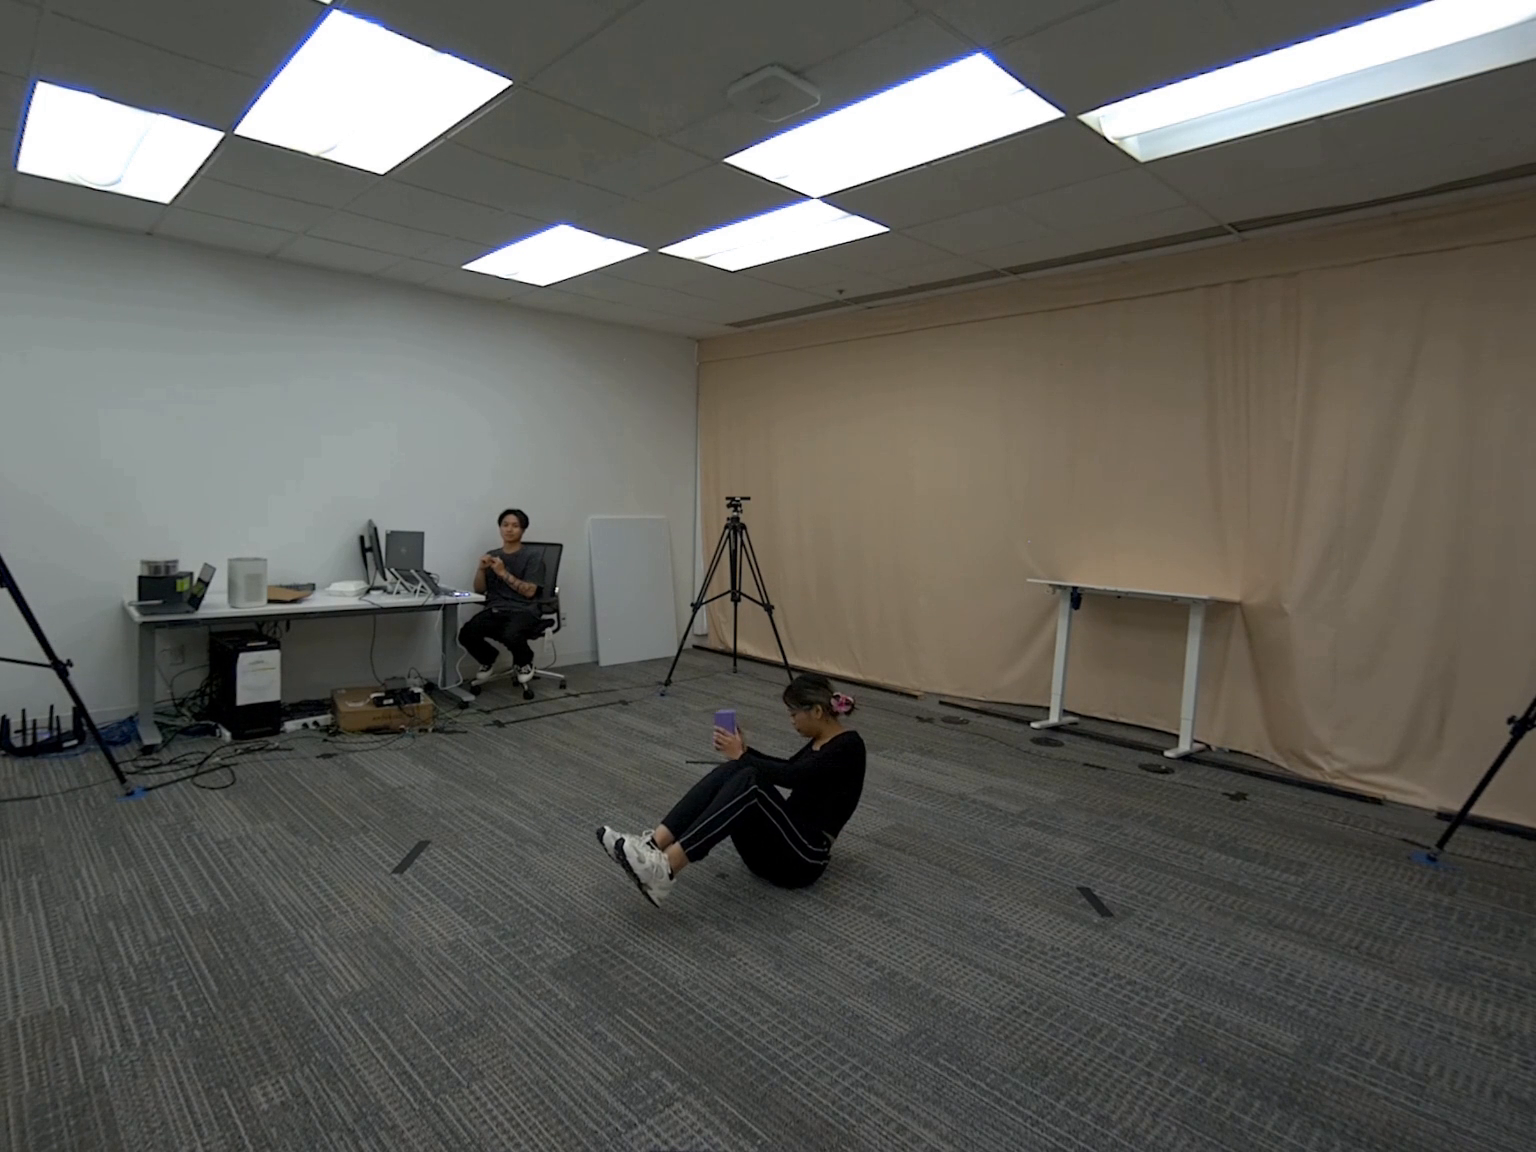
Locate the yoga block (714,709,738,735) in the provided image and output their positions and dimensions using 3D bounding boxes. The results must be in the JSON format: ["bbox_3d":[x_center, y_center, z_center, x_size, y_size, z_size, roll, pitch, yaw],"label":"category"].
[{"bbox_3d":[-0.163,0.609,3.316,0.076,0.150,0.228,-3,-8,-2],"label":"yoga block"}]
